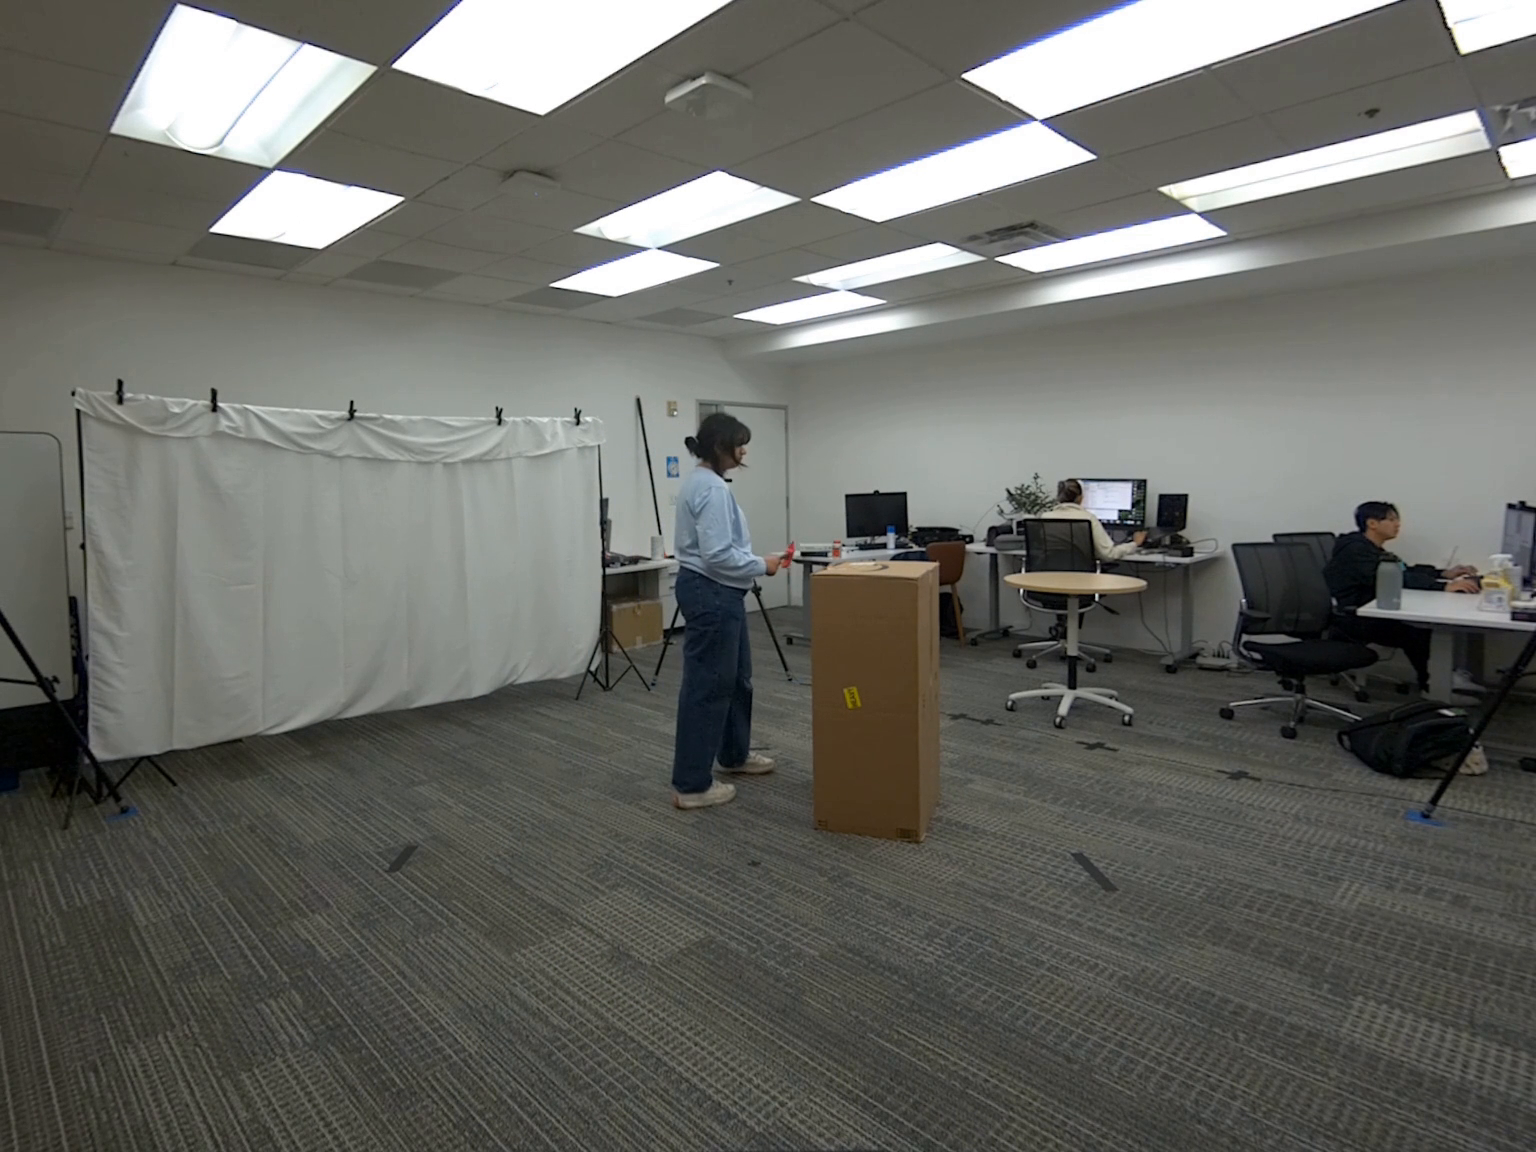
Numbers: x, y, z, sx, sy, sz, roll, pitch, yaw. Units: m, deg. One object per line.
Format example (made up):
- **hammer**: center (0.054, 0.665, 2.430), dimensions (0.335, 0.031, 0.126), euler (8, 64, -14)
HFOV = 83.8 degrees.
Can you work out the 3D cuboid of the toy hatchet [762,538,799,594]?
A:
- **toy hatchet**: center (0.056, -0.048, 3.817), dimensions (0.030, 0.128, 0.269), euler (20, 37, 22)
